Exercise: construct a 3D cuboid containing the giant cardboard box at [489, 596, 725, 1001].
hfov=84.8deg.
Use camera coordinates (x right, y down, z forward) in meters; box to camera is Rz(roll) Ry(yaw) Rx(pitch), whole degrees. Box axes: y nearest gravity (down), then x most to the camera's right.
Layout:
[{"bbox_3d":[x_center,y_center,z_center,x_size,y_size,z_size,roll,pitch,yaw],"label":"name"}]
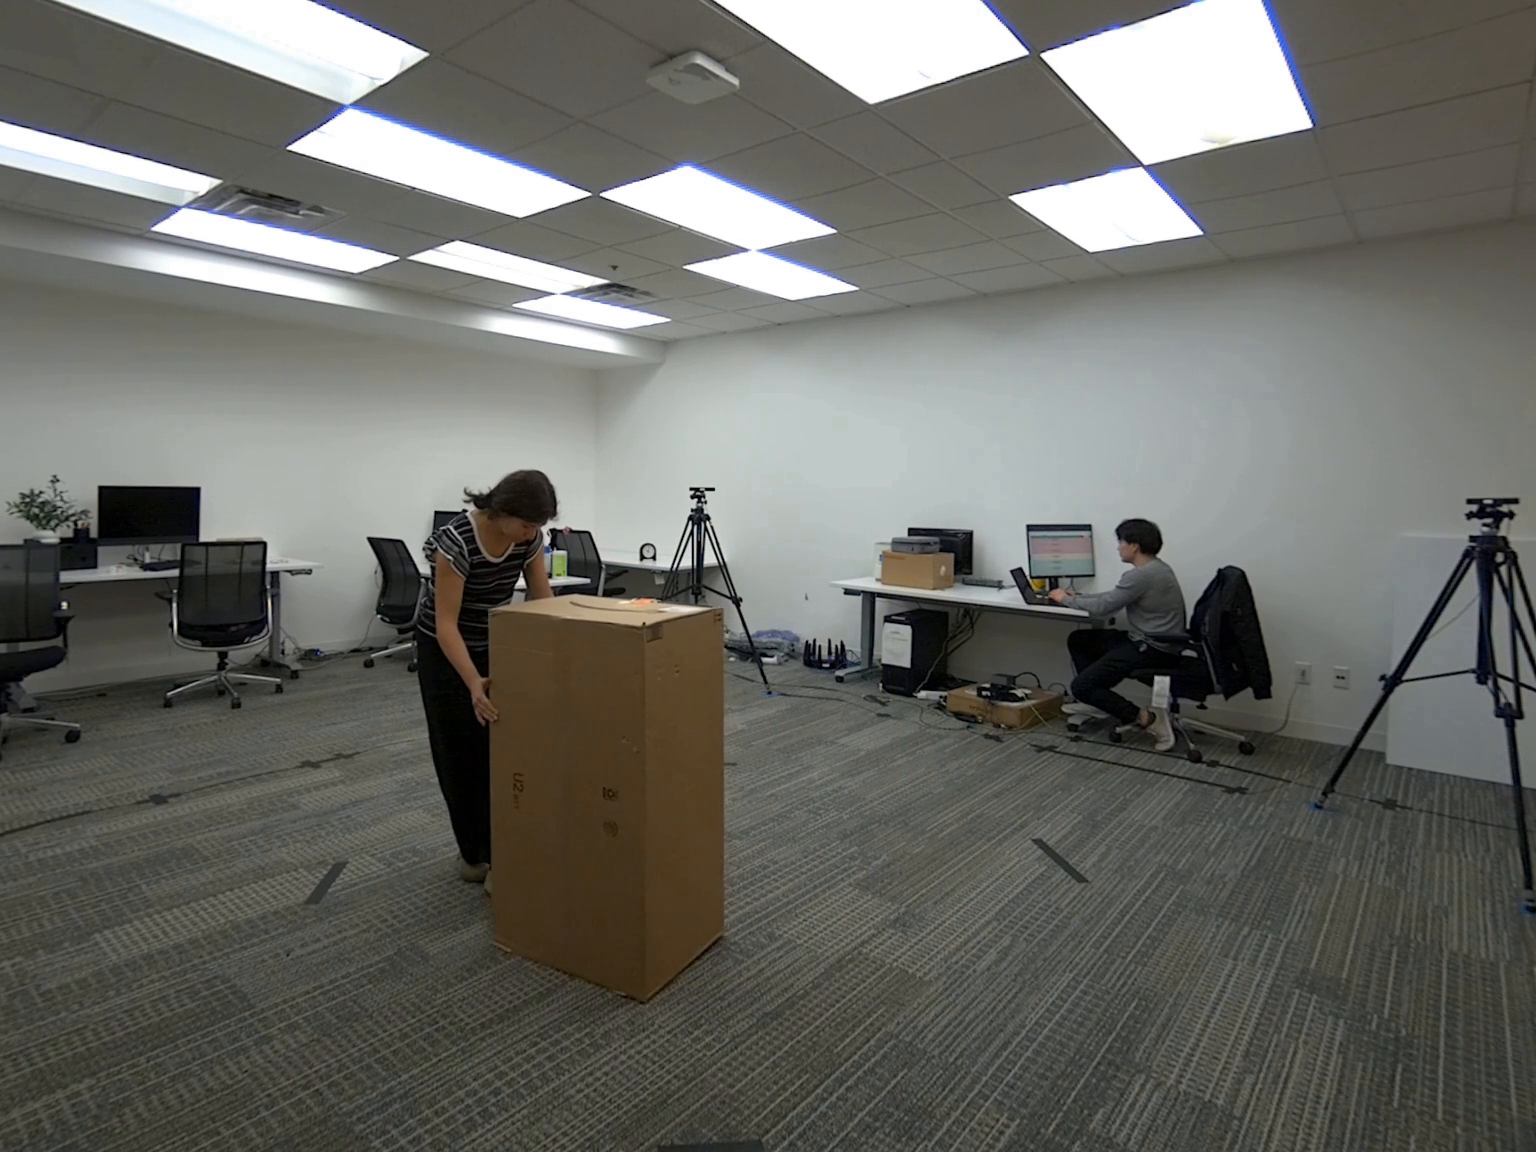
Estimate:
[{"bbox_3d":[-0.491,0.603,2.578,0.594,1.023,0.415,2,3,29],"label":"giant cardboard box"}]
